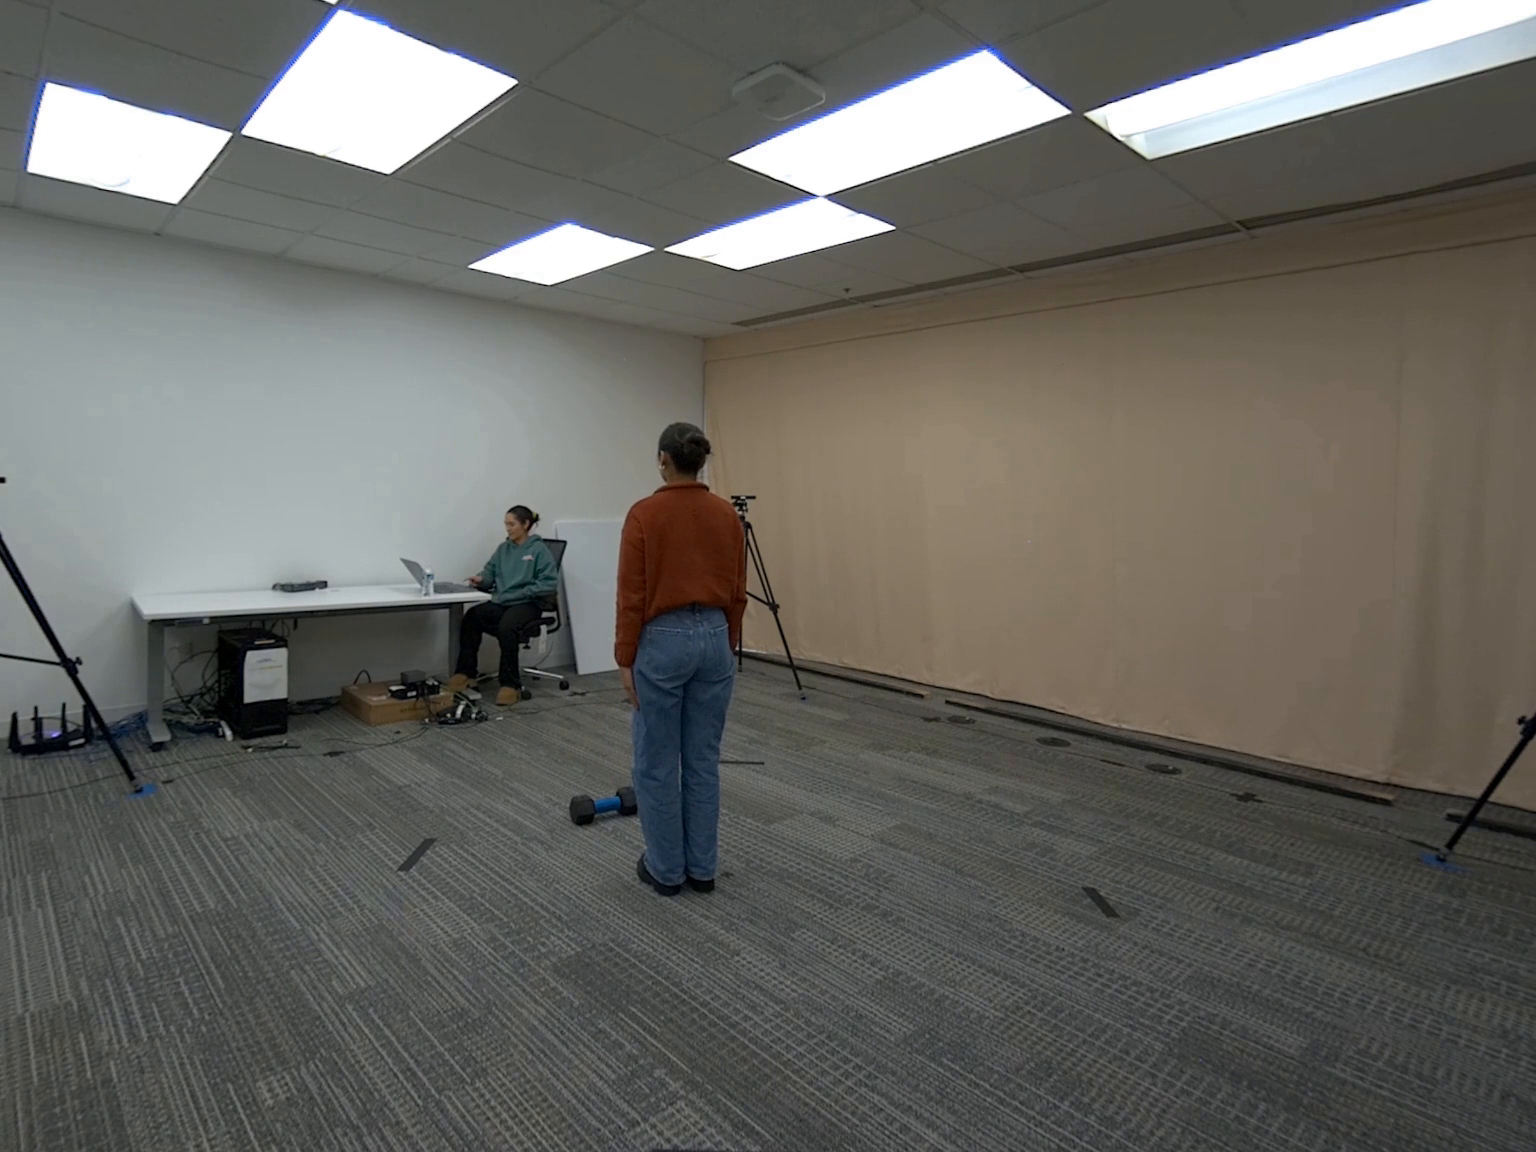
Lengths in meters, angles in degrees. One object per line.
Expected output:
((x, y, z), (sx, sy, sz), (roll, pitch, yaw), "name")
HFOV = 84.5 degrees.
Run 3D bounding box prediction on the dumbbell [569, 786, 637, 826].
((-0.712, 0.990, 3.632), (0.287, 0.121, 0.112), (-2, 35, -34), "dumbbell")
